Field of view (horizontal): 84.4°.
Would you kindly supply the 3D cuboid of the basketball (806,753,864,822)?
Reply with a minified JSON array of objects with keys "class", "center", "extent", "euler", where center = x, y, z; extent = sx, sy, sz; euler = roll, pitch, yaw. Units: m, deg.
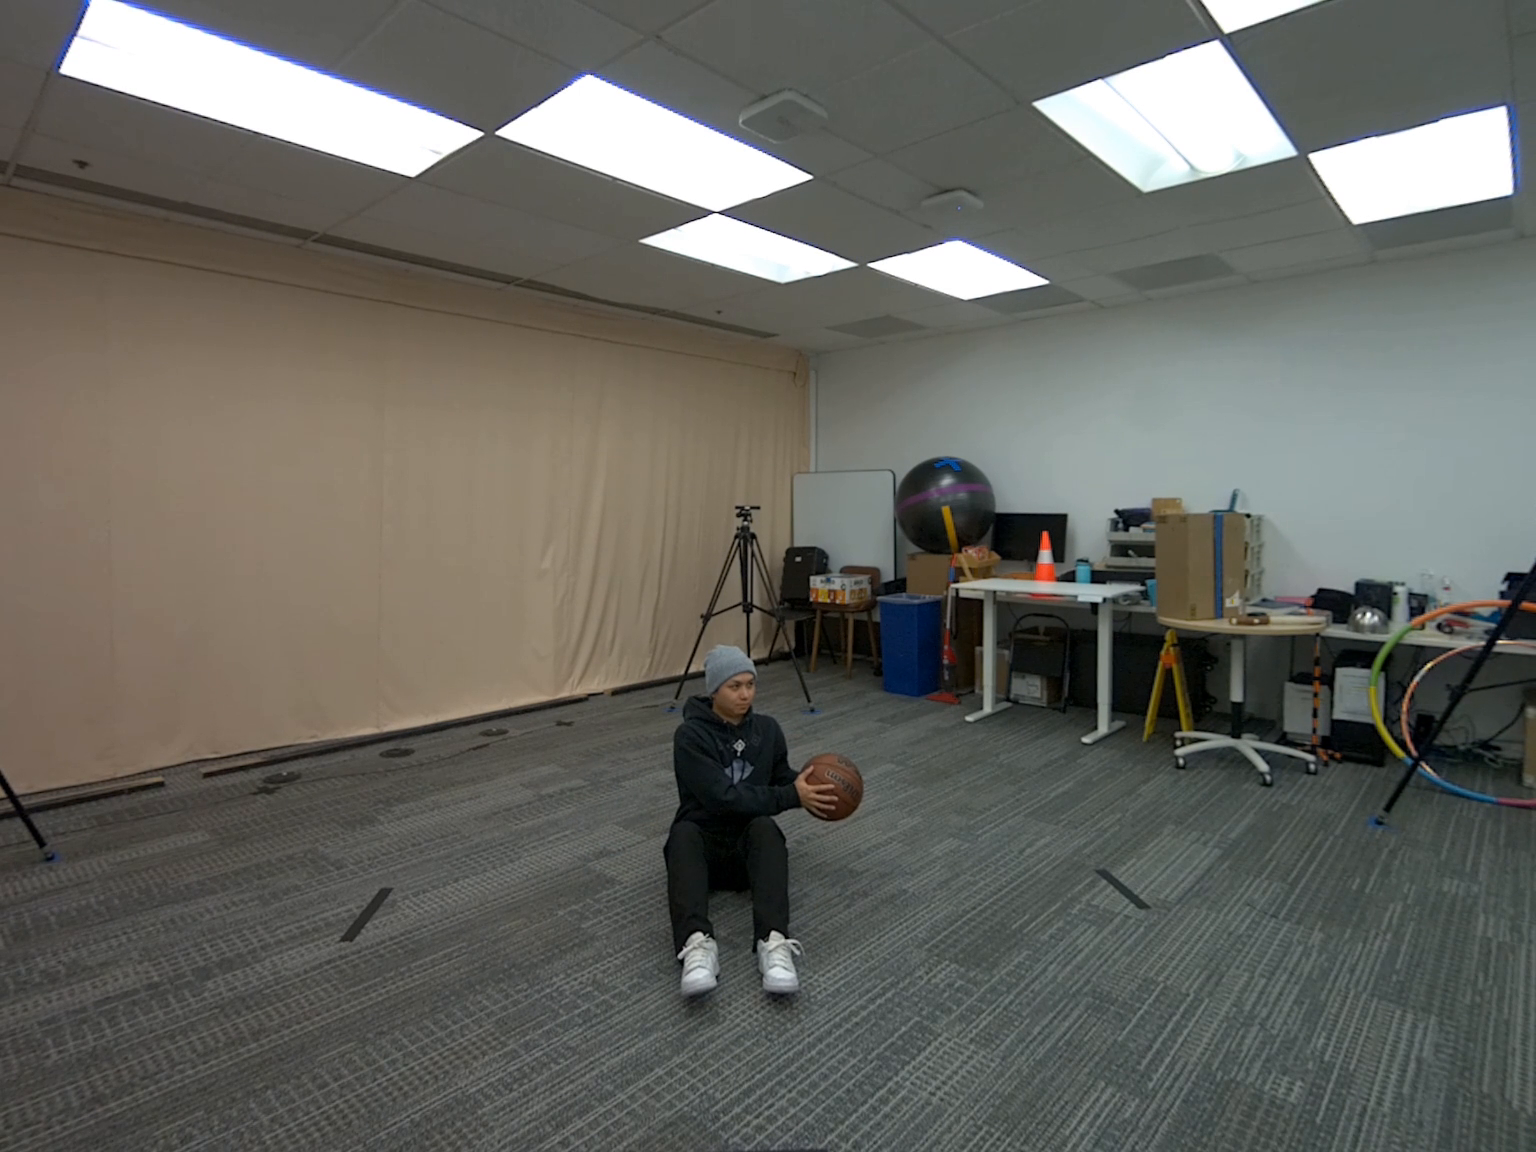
[{"class":"basketball","center":[0.226,0.761,3.038],"extent":[0.236,0.235,0.237],"euler":[0,4,-2]}]
